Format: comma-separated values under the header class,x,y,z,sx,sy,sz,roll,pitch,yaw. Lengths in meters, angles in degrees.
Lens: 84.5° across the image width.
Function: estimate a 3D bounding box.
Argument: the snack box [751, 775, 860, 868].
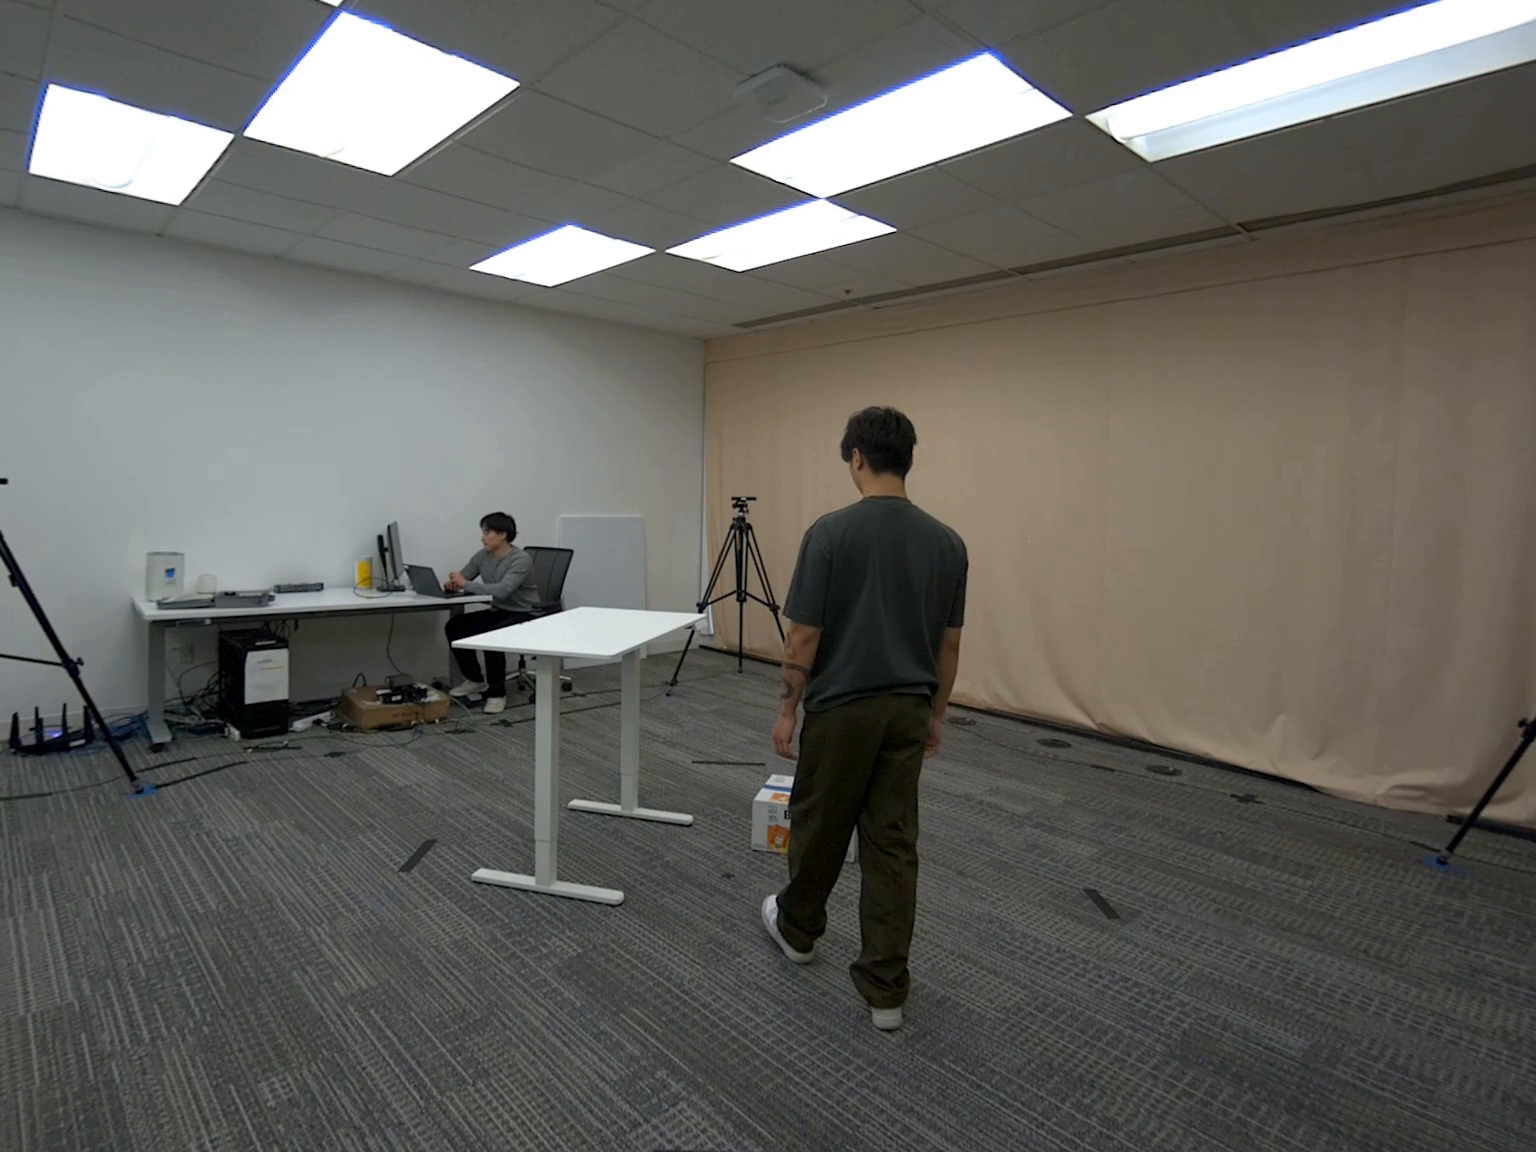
class,x,y,z,sx,sy,sz,roll,pitch,yaw
snack box,0.169,0.986,3.441,0.410,0.205,0.337,2,5,14
